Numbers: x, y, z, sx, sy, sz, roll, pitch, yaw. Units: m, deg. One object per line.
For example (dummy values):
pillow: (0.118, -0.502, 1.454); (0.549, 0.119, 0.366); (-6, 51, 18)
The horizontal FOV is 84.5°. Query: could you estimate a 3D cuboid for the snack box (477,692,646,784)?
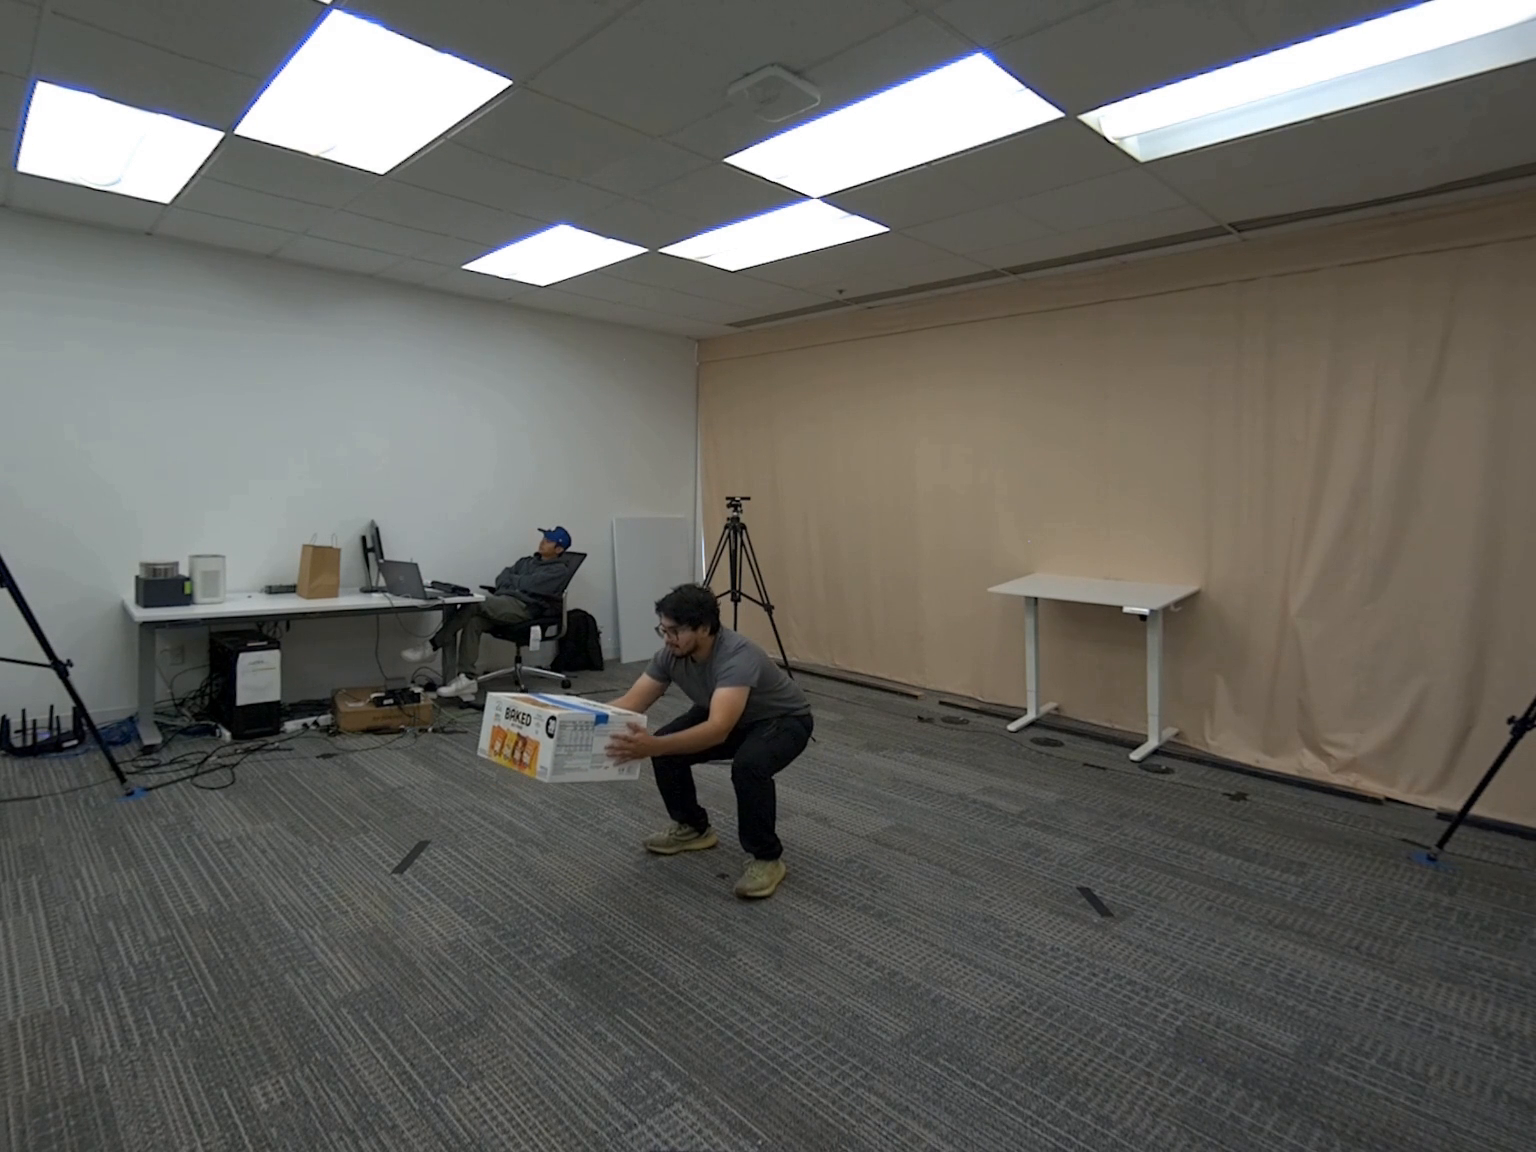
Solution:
snack box: (-0.658, 0.499, 2.669); (0.415, 0.206, 0.331); (4, -5, 43)
